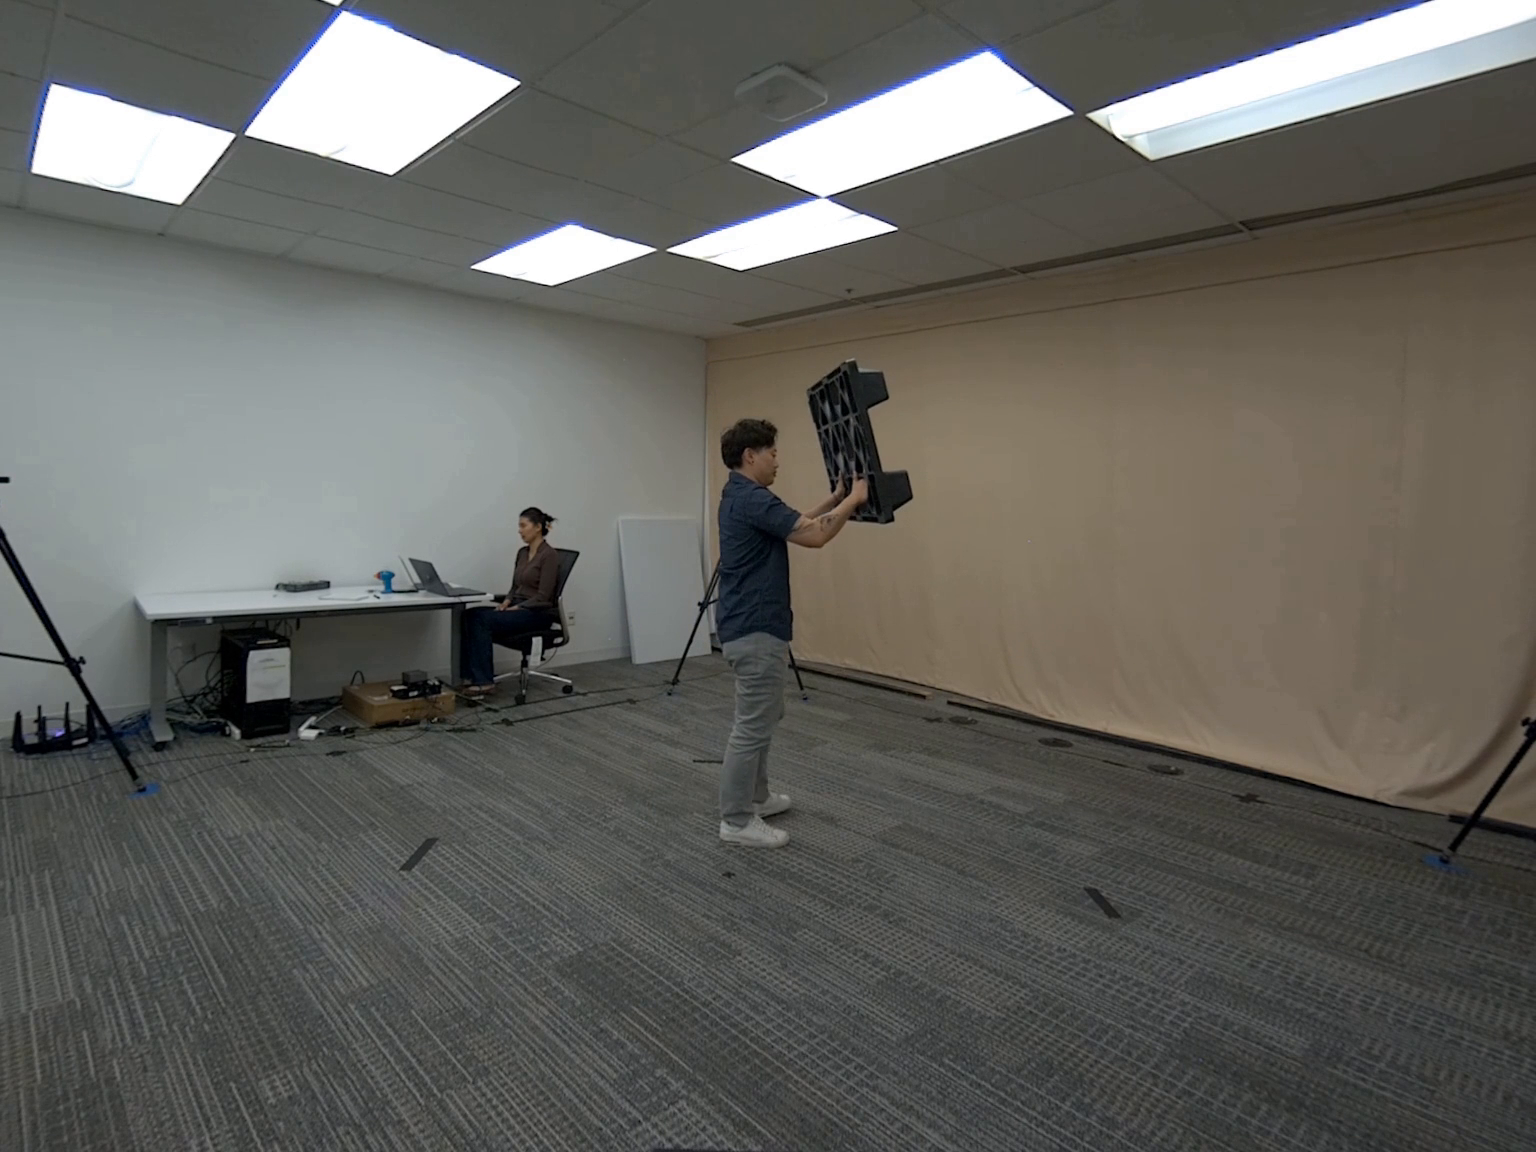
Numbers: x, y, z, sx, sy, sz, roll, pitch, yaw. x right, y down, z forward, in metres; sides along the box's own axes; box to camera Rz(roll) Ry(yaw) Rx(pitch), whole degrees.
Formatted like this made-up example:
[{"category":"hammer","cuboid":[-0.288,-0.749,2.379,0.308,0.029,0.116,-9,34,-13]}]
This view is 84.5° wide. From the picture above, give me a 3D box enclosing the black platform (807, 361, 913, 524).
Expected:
[{"category":"black platform","cuboid":[0.350,-0.526,3.387,0.143,0.602,0.812,-13,6,-6]}]
